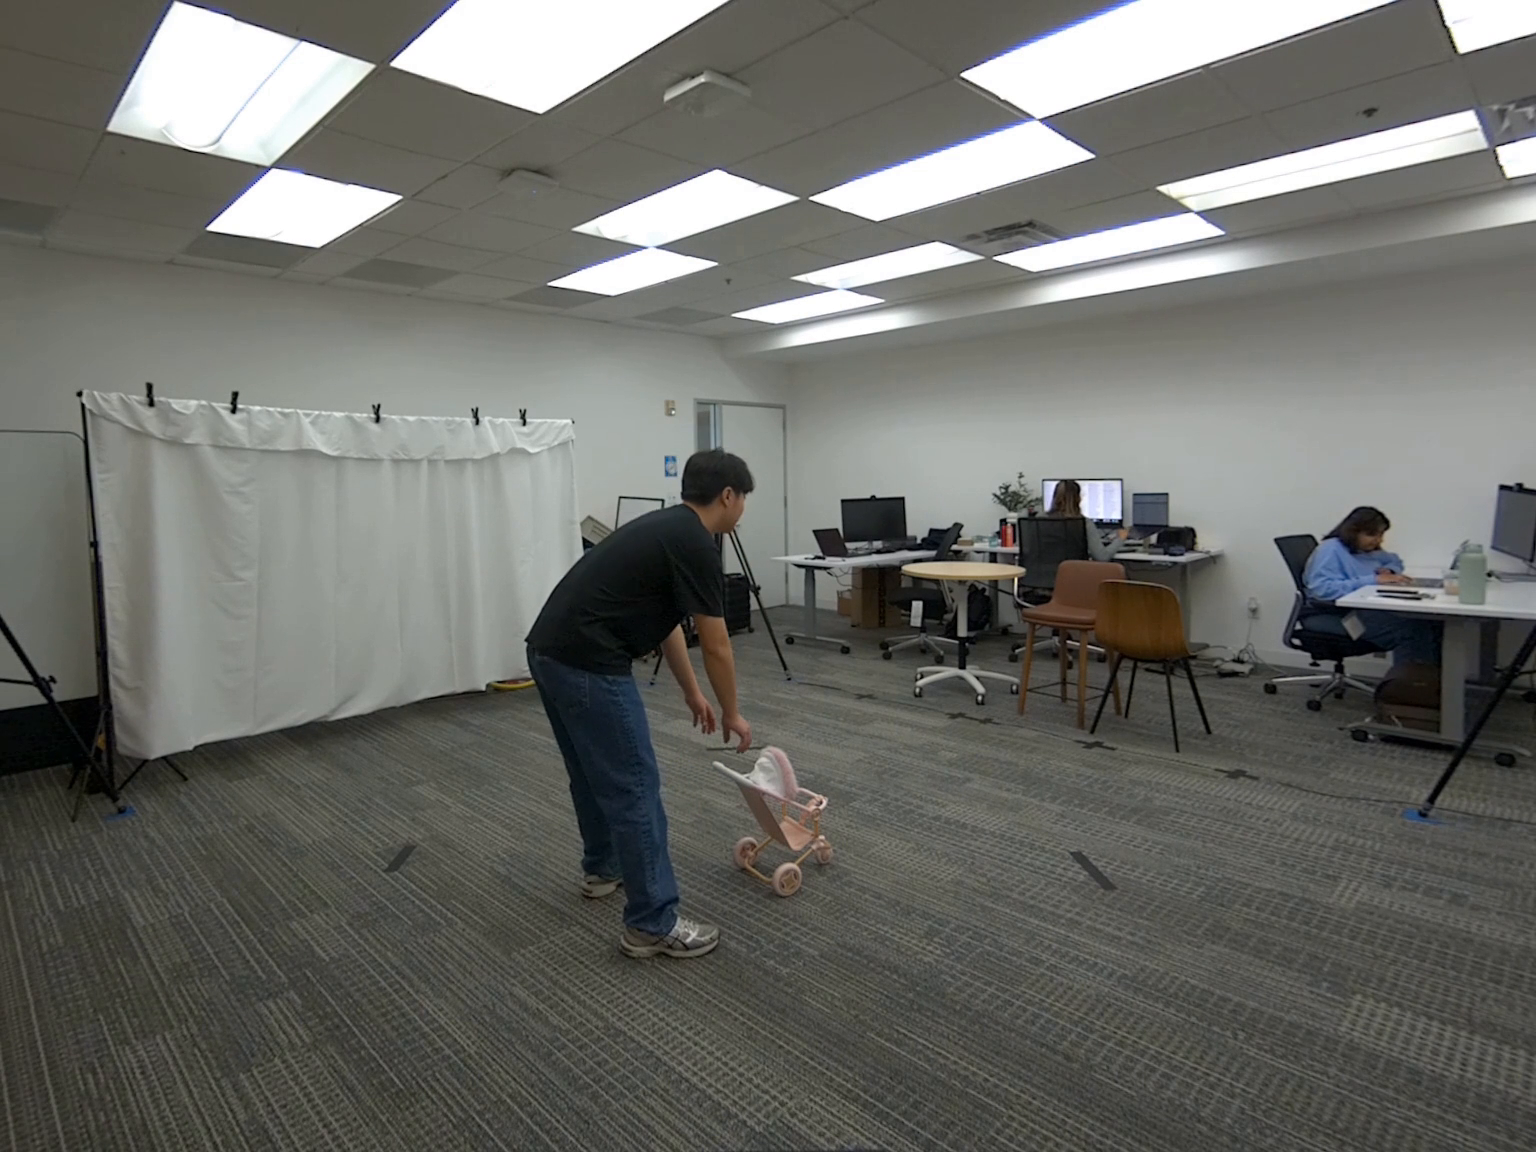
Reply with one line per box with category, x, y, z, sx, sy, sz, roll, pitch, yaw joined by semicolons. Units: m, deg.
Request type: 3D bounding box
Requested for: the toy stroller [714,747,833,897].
toy stroller;0.048;0.830;2.980;0.337;0.528;0.289;-21;13;-25
